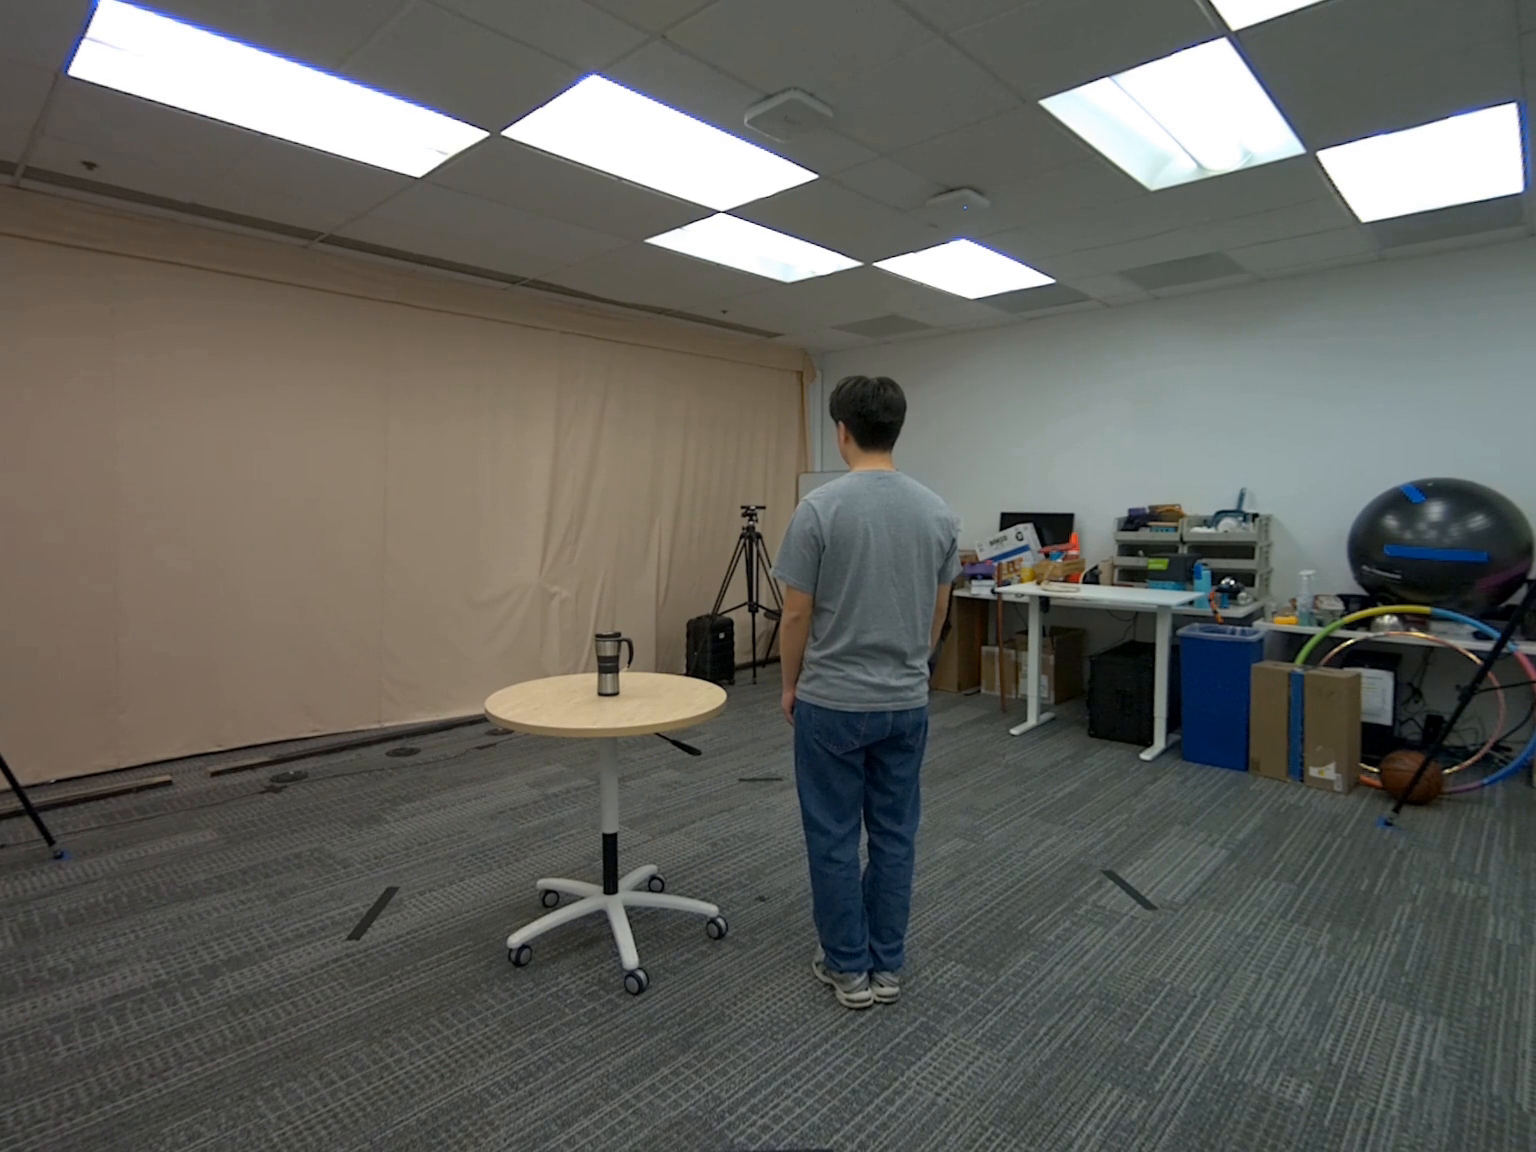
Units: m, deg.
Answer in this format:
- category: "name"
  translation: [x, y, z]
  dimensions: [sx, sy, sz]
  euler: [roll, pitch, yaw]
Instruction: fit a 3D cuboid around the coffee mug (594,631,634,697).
- category: "coffee mug"
  translation: [-0.500, 0.284, 2.710]
  dimensions: [0.125, 0.203, 0.085]
  euler: [-3, -3, 35]
